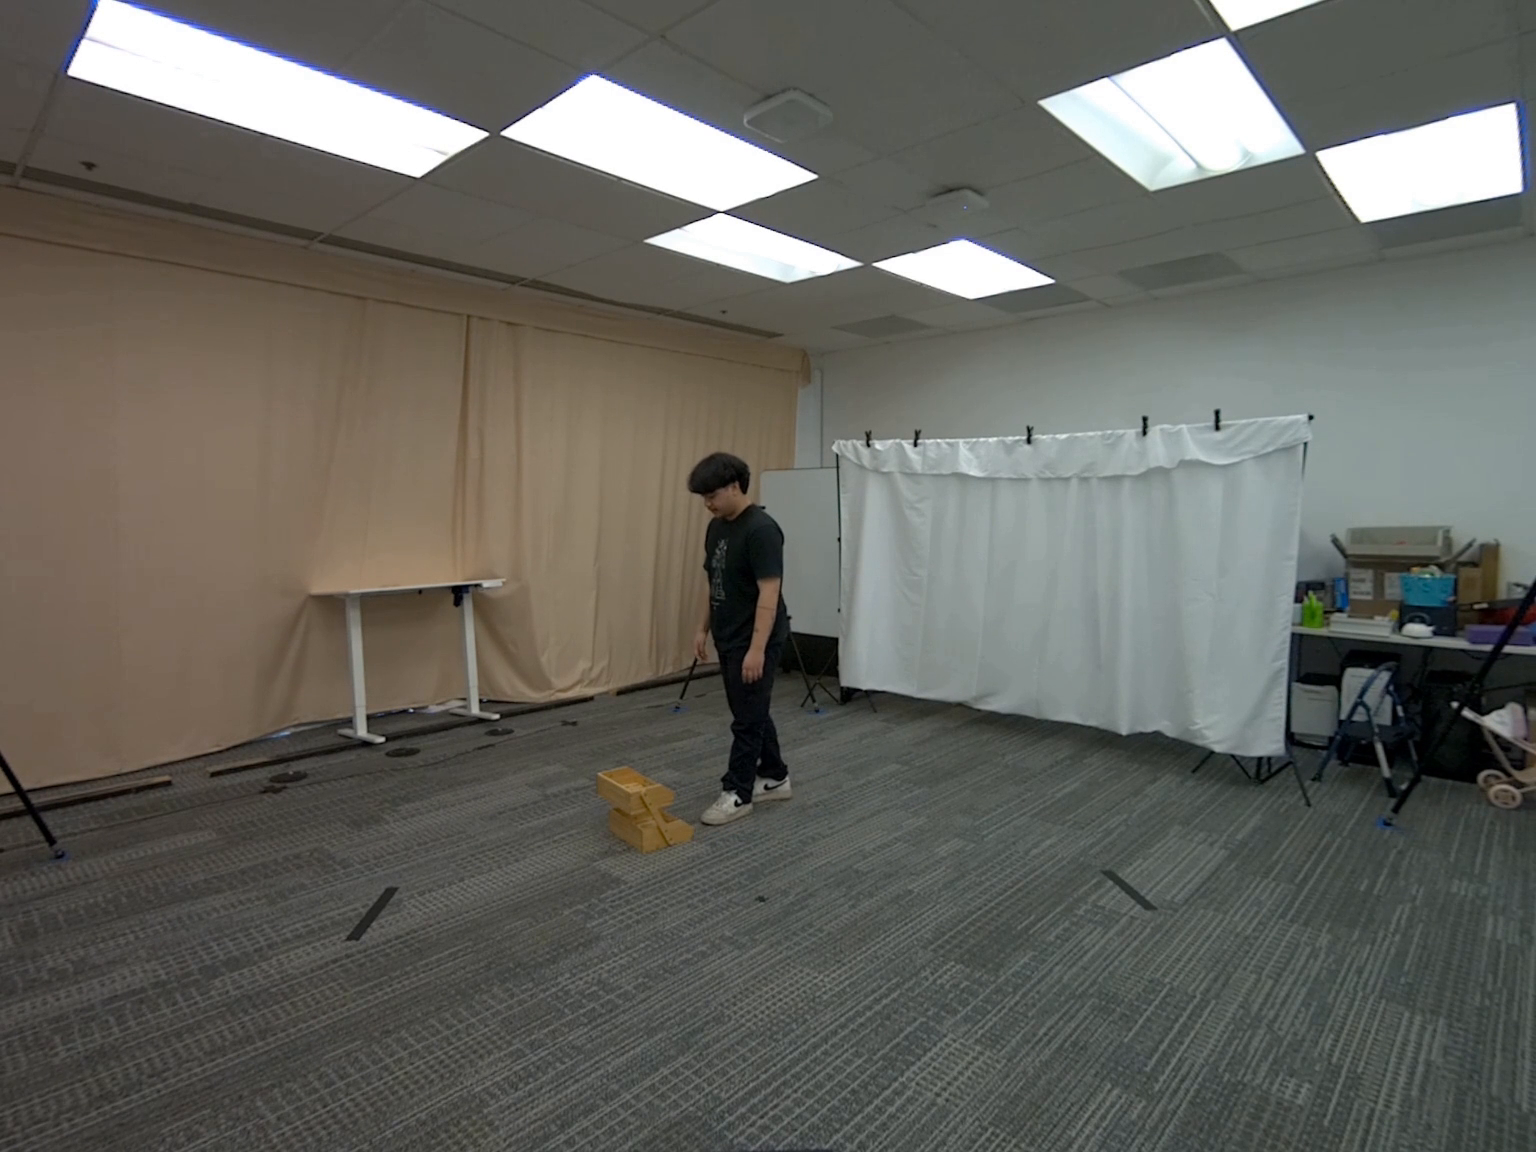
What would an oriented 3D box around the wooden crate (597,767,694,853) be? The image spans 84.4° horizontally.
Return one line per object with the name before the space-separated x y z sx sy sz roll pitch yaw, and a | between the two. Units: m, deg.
wooden crate | -0.519 0.968 3.560 0.293 0.273 0.335 -4 5 -36
